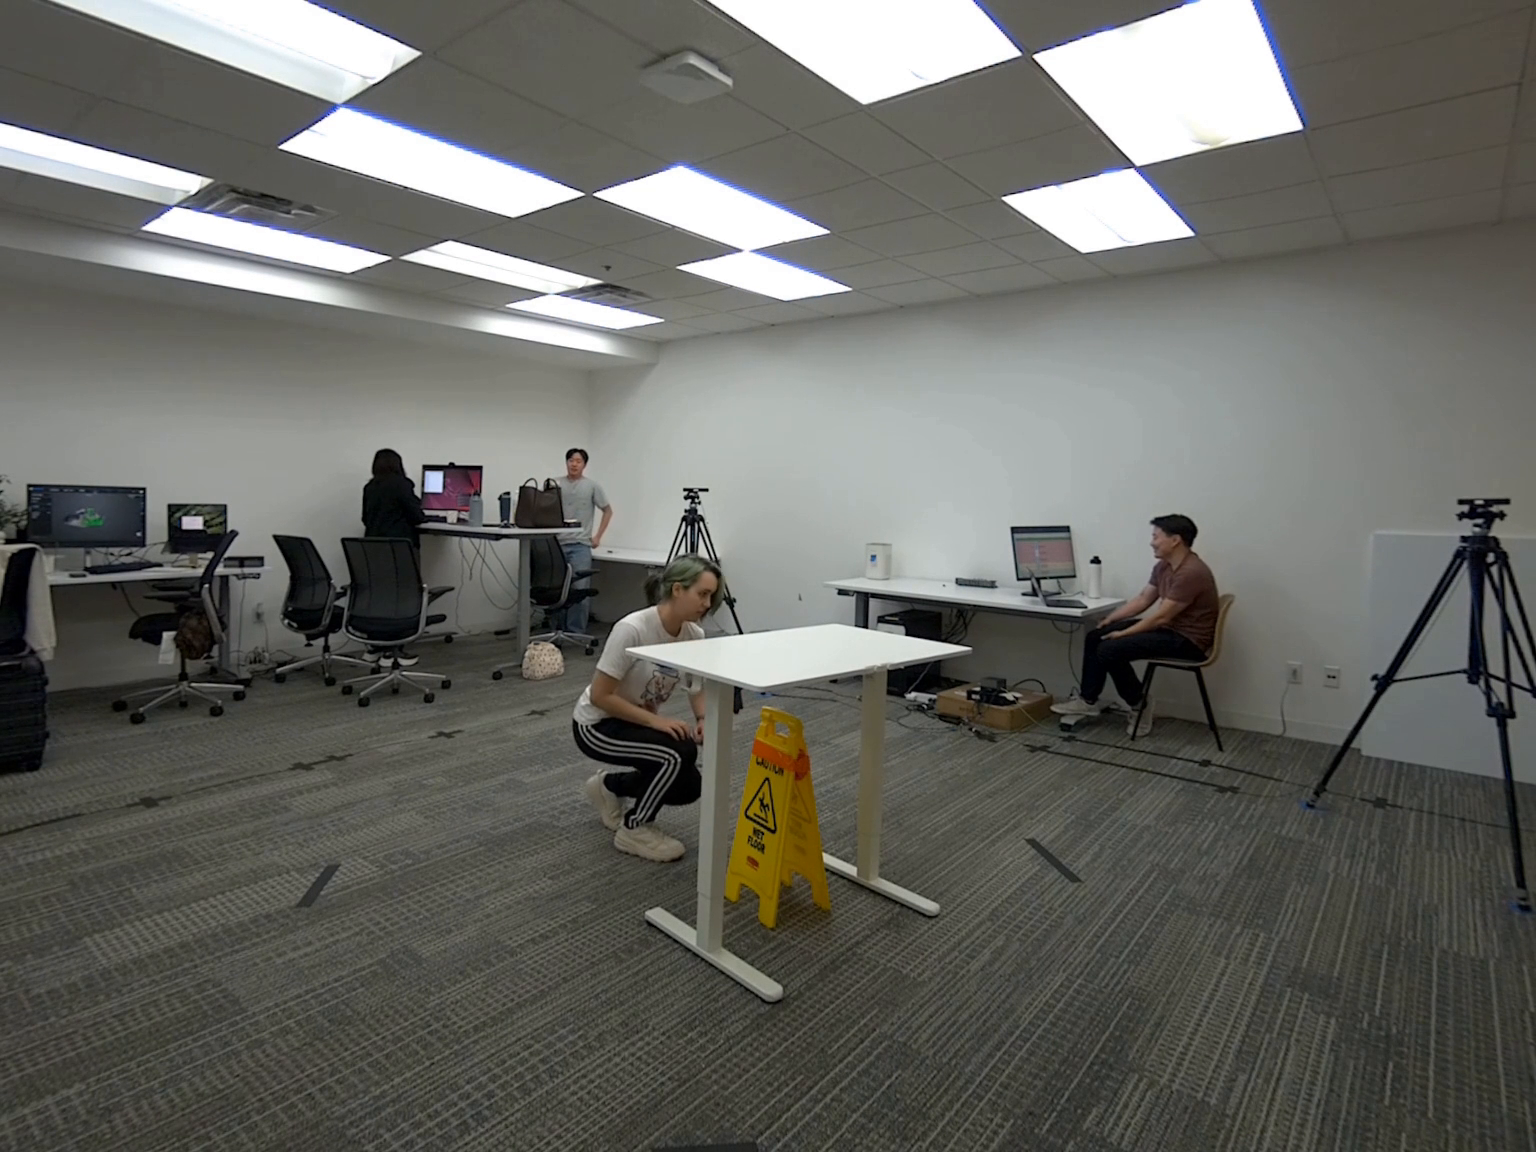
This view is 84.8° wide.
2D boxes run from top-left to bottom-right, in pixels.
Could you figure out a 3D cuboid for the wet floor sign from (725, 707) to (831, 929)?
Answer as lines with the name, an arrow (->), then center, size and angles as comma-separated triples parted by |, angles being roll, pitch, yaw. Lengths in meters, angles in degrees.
wet floor sign -> 0.027, 0.772, 2.850 | 0.281, 0.644, 0.291 | -1, 3, -34
